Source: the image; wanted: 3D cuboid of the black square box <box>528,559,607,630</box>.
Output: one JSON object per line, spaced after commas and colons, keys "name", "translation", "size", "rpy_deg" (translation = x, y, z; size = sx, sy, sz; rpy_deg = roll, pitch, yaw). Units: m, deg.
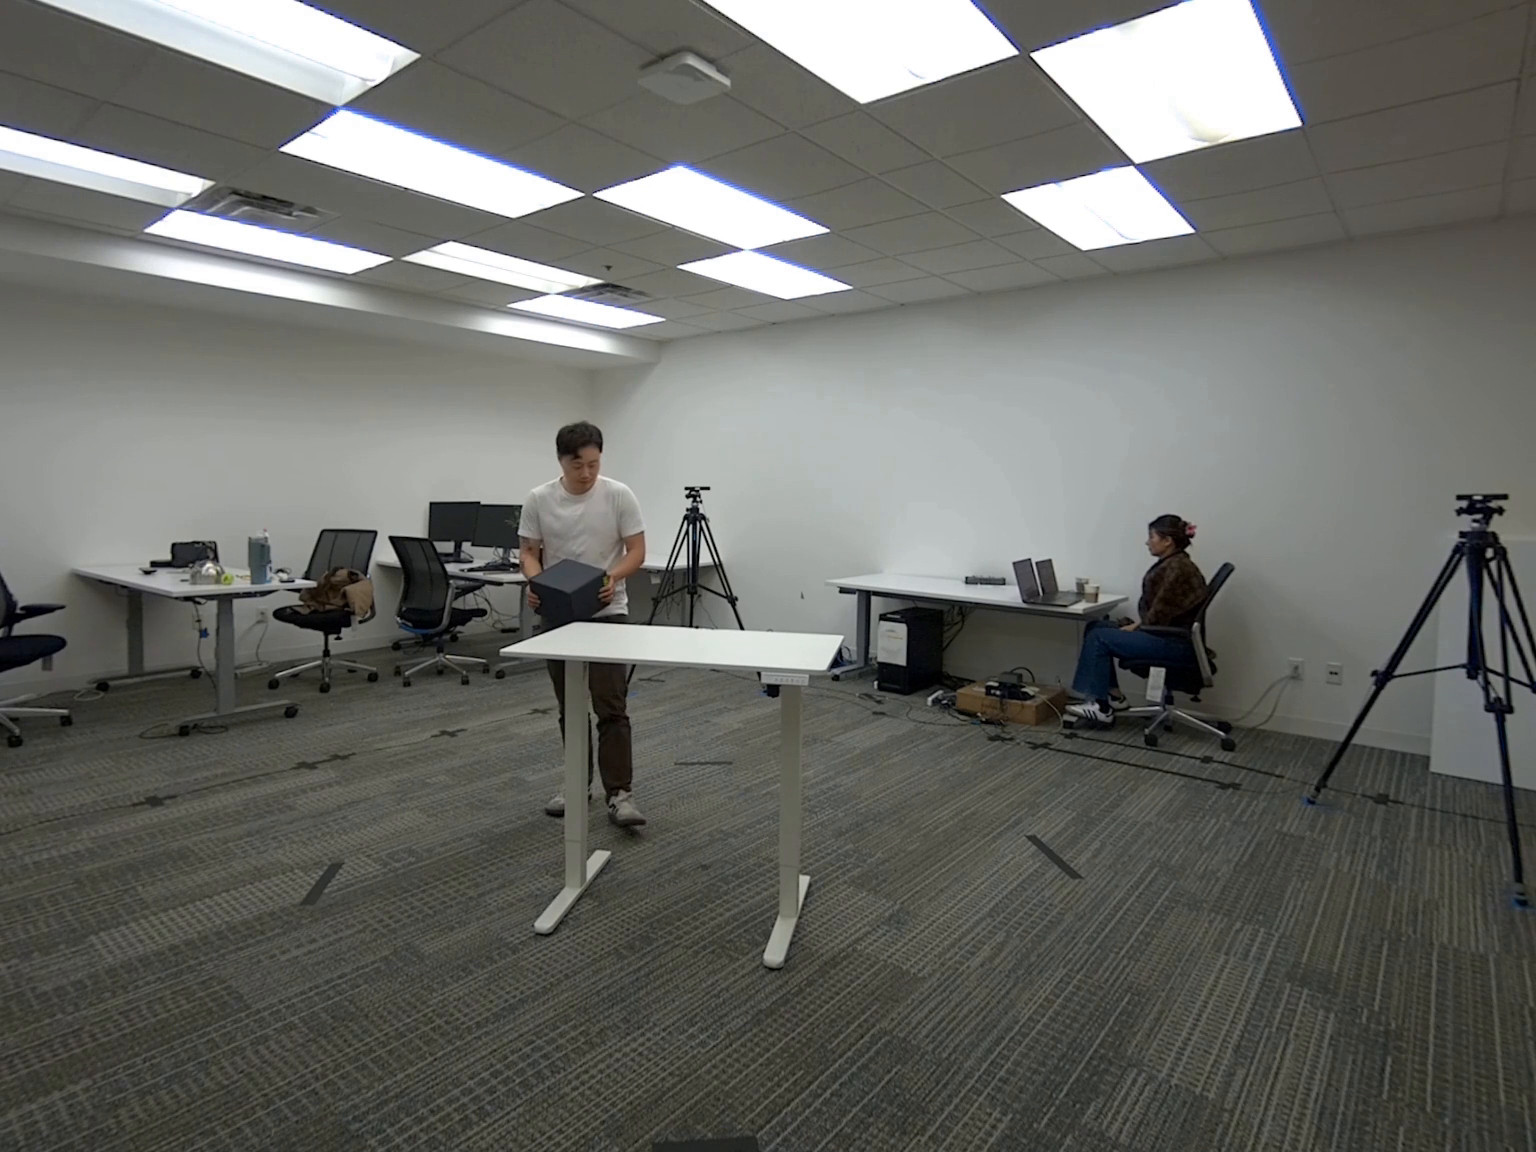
{"name": "black square box", "translation": [-0.801, 0.058, 3.376], "size": [0.236, 0.152, 0.215], "rpy_deg": [14, 31, 31]}
